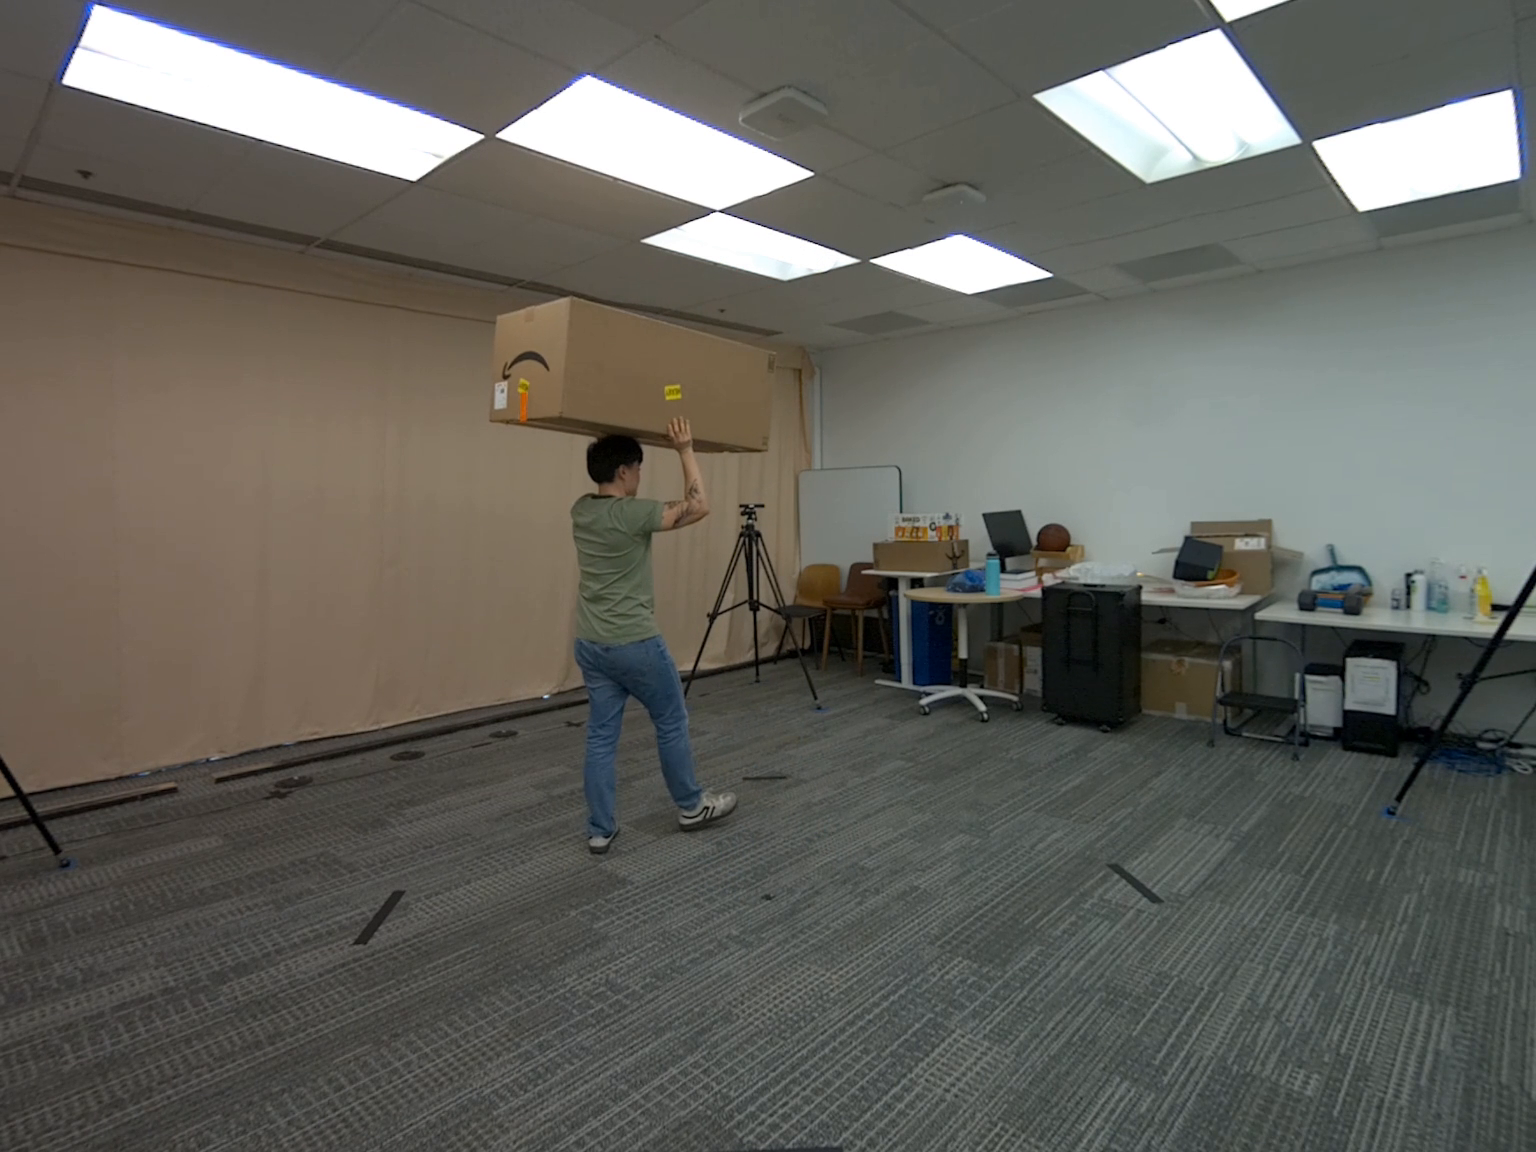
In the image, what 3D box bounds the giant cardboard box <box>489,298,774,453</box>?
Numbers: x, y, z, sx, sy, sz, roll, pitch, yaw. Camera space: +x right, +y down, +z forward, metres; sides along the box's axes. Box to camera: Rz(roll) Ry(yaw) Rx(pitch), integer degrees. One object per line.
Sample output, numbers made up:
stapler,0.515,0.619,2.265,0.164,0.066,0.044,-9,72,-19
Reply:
giant cardboard box,-0.528,-0.778,3.475,0.992,0.425,0.597,2,4,-43
